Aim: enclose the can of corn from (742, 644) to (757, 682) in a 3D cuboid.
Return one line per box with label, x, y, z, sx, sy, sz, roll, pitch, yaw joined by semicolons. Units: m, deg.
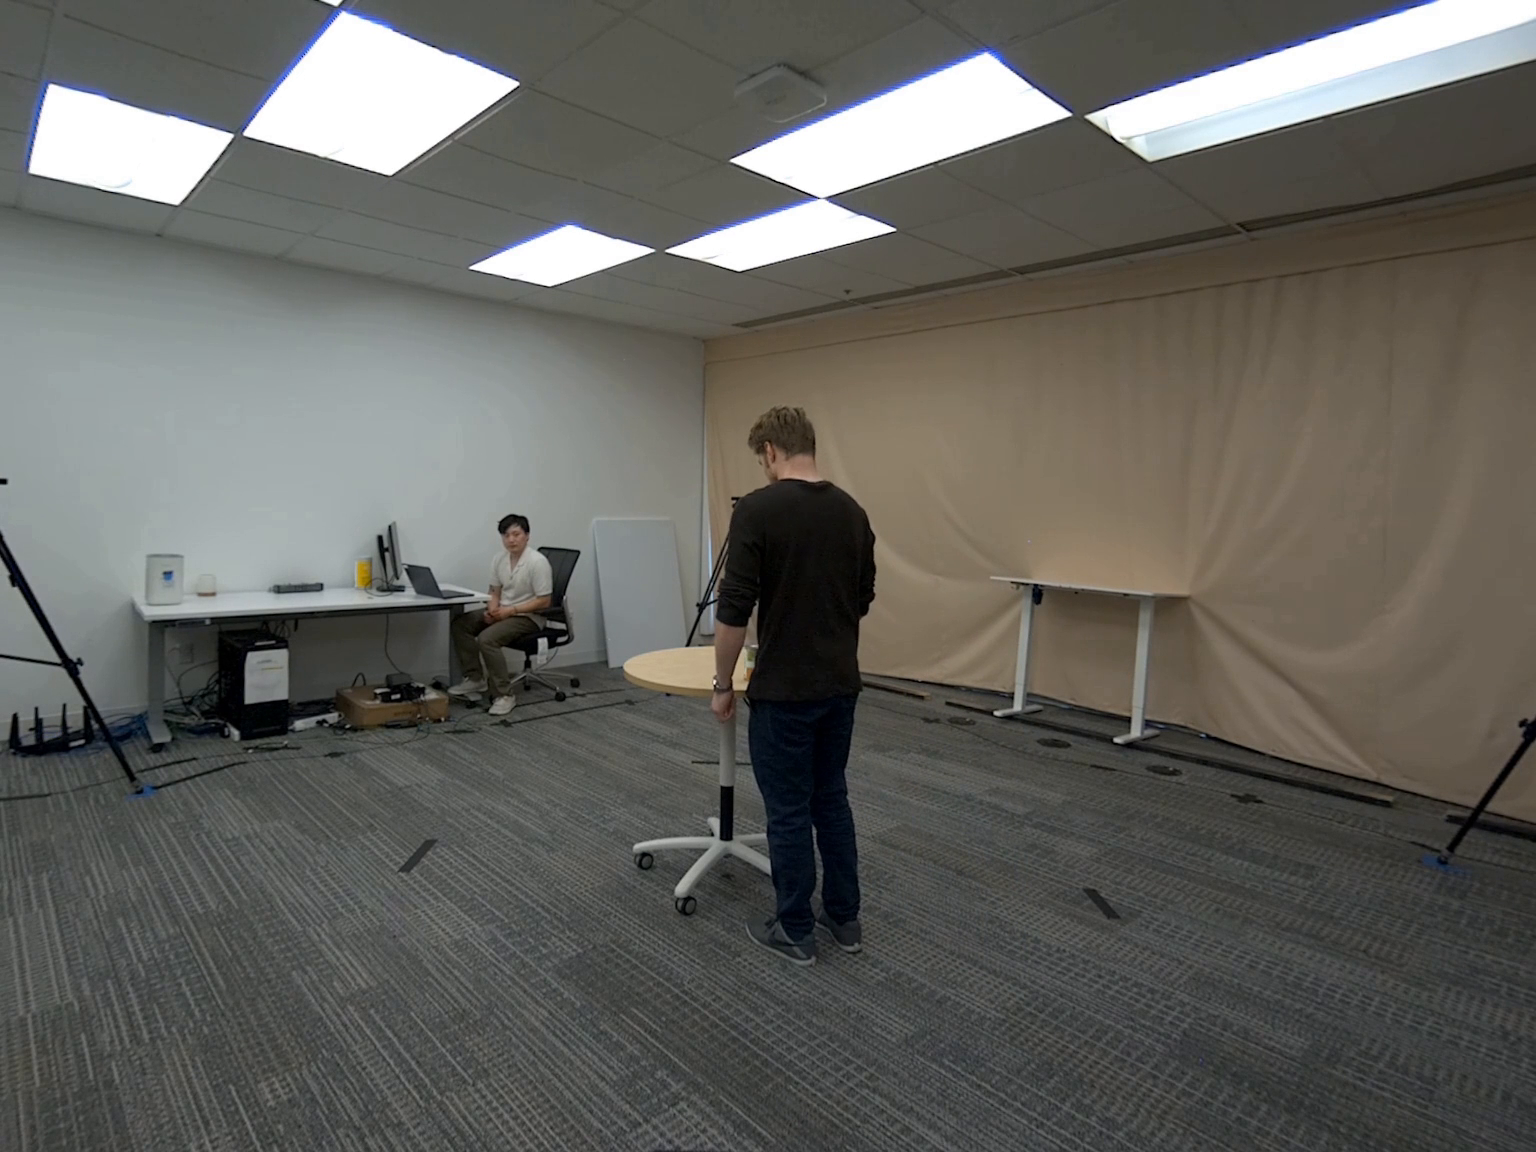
can of corn;-0.044;0.295;2.826;0.074;0.111;0.074;1;4;-1
